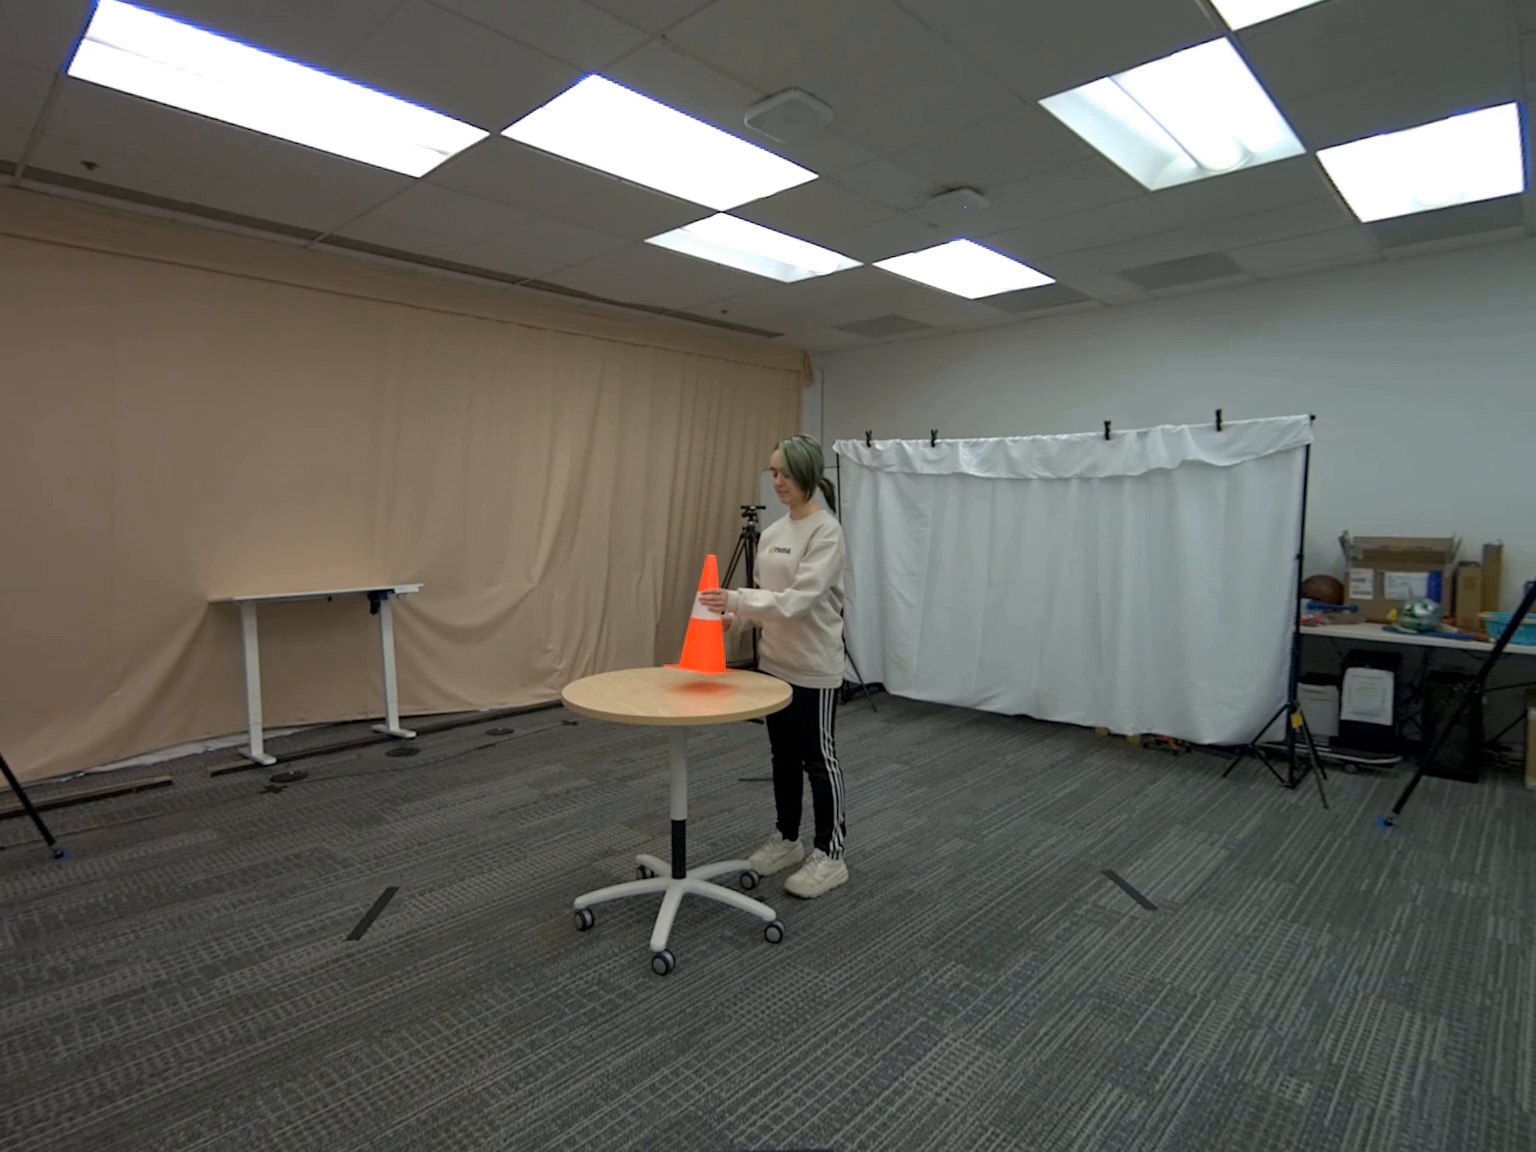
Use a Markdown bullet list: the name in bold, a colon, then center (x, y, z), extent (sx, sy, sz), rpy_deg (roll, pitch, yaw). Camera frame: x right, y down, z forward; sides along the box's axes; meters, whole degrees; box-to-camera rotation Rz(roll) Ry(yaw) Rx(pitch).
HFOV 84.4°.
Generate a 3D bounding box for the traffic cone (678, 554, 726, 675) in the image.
- **traffic cone**: center (-0.200, 0.118, 2.829), extent (0.211, 0.384, 0.197), rpy_deg (2, -2, 30)
